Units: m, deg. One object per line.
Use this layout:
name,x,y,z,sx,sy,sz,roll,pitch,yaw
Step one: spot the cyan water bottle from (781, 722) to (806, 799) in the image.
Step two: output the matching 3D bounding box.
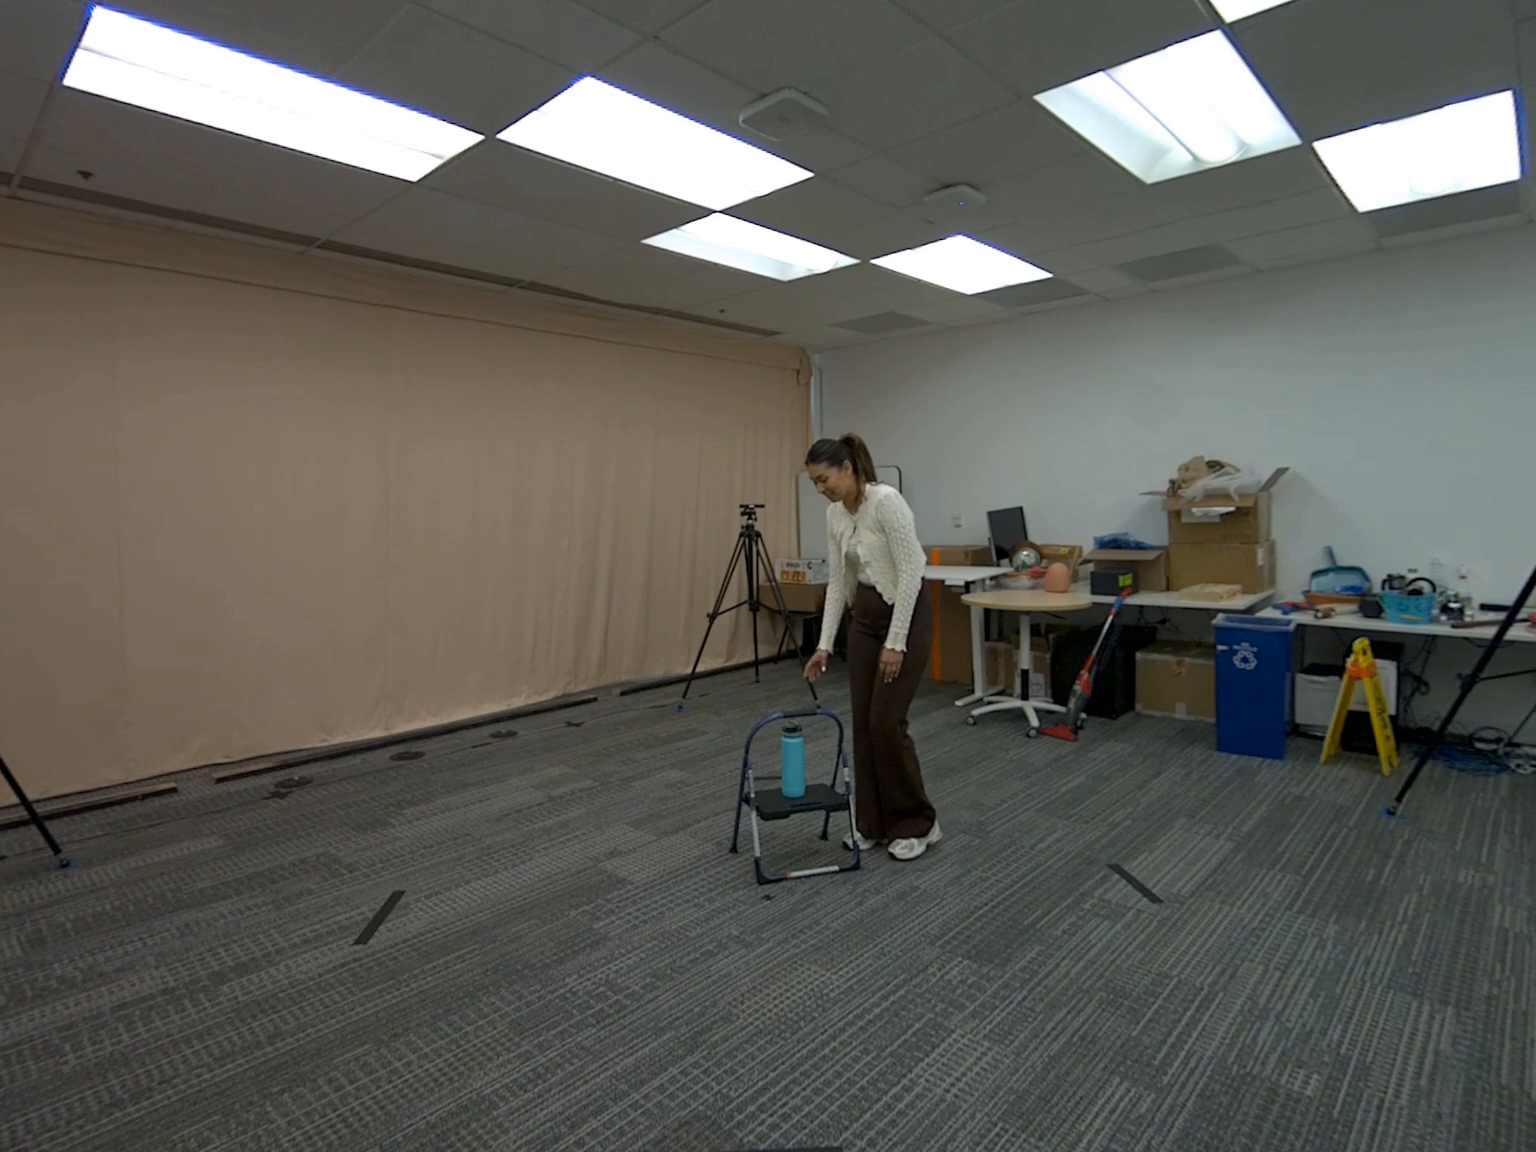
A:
cyan water bottle,0.104,0.713,3.288,0.092,0.283,0.092,-1,1,-2
